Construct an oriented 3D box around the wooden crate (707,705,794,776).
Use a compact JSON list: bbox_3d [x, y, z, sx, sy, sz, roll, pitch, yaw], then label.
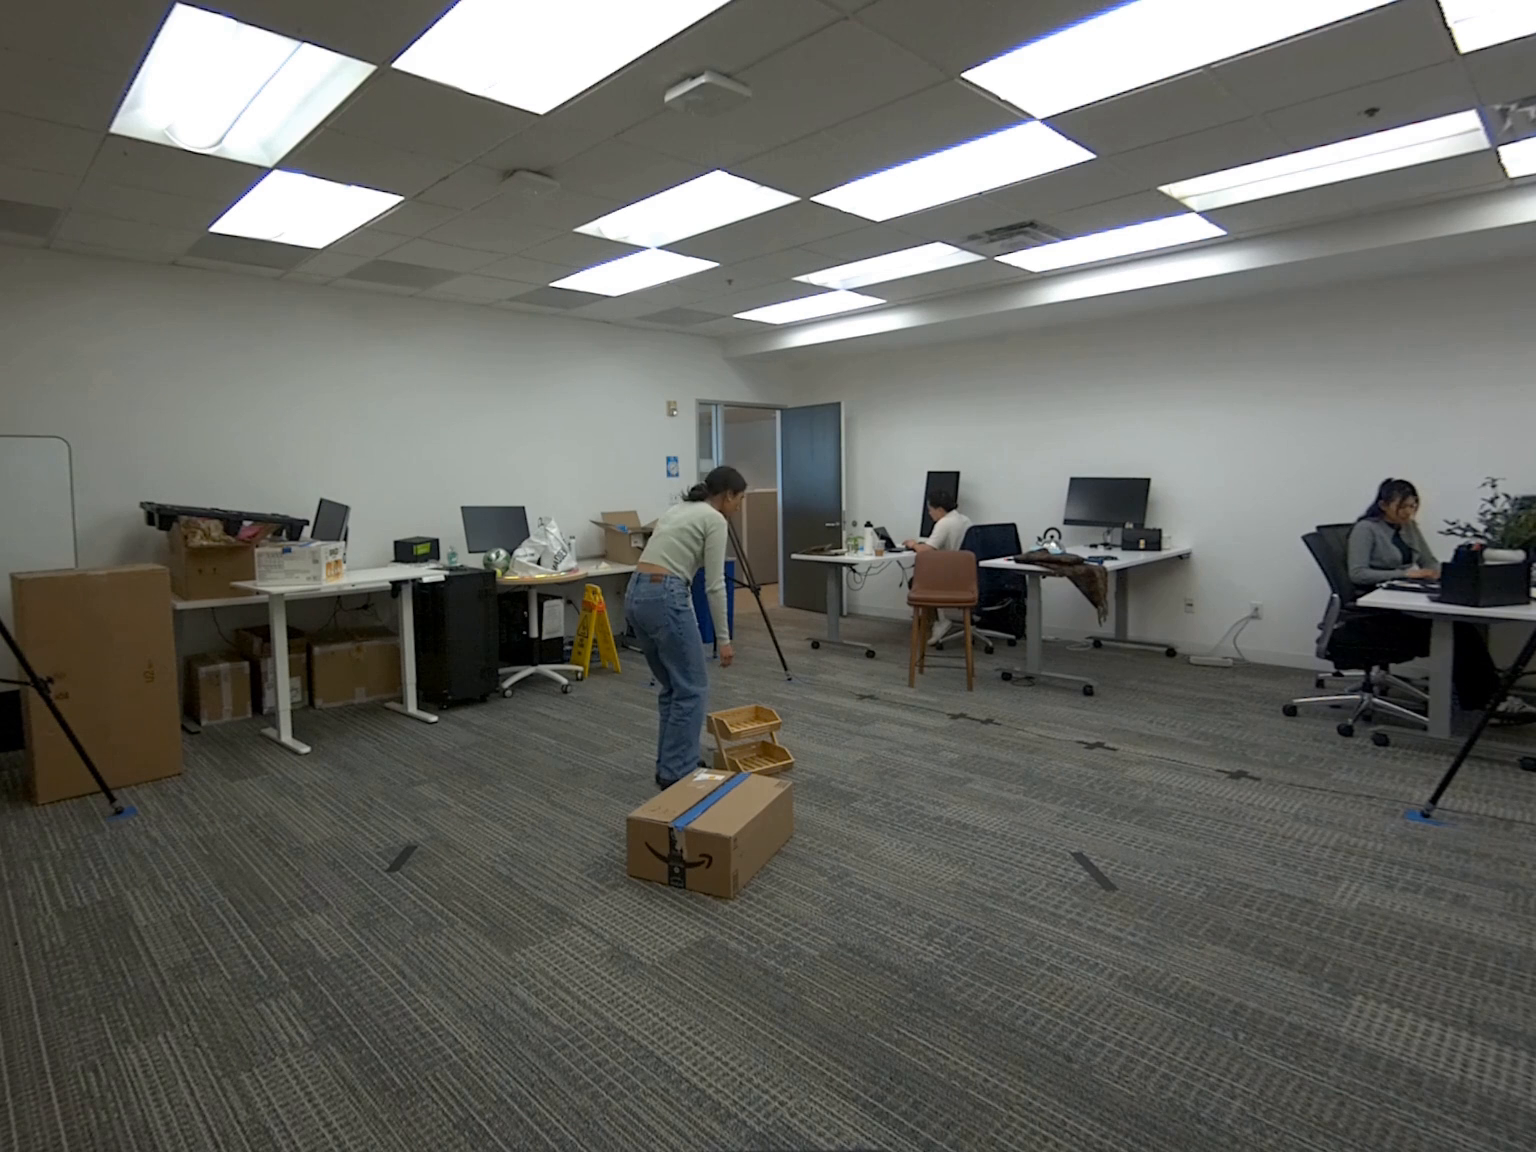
[{"bbox_3d":[-0.089,0.790,4.121,0.316,0.272,0.311,-5,5,-36],"label":"wooden crate"}]
